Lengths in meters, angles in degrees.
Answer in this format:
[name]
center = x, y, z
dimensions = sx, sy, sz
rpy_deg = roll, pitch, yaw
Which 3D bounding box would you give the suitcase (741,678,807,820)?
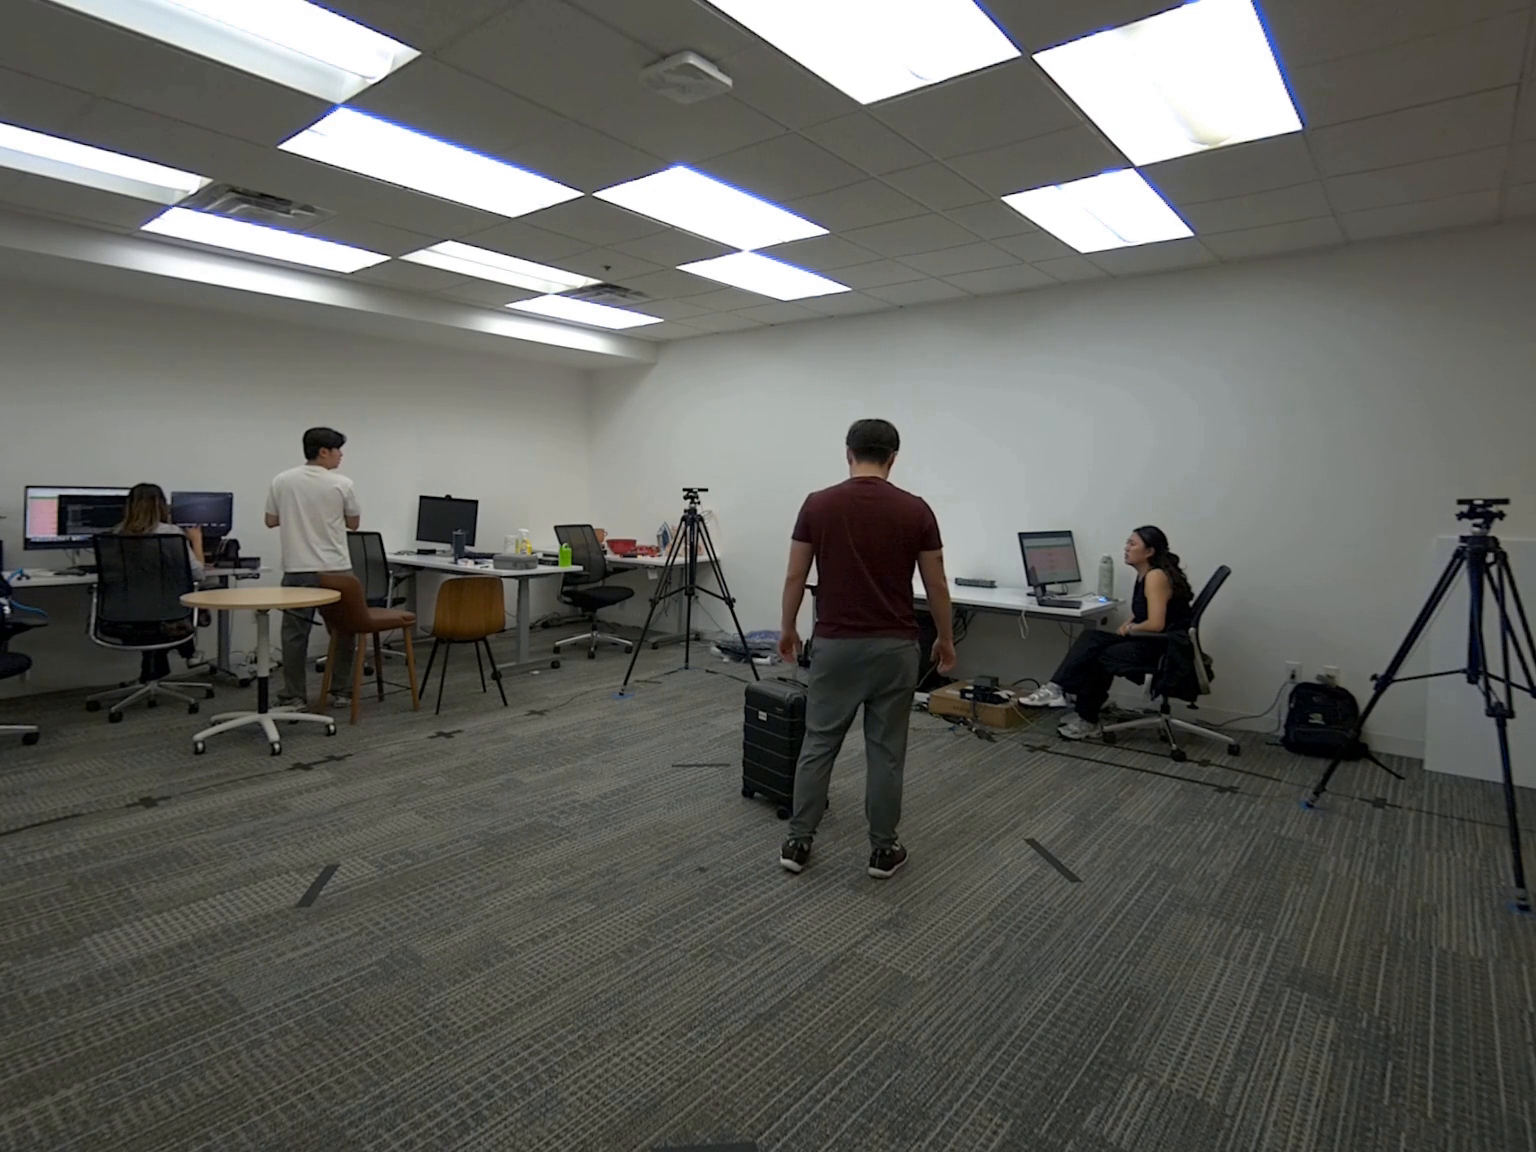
[suitcase]
center = 0.066, 0.537, 3.765
dimensions = 0.250, 0.974, 0.397
rpy_deg = -4, 6, -36
